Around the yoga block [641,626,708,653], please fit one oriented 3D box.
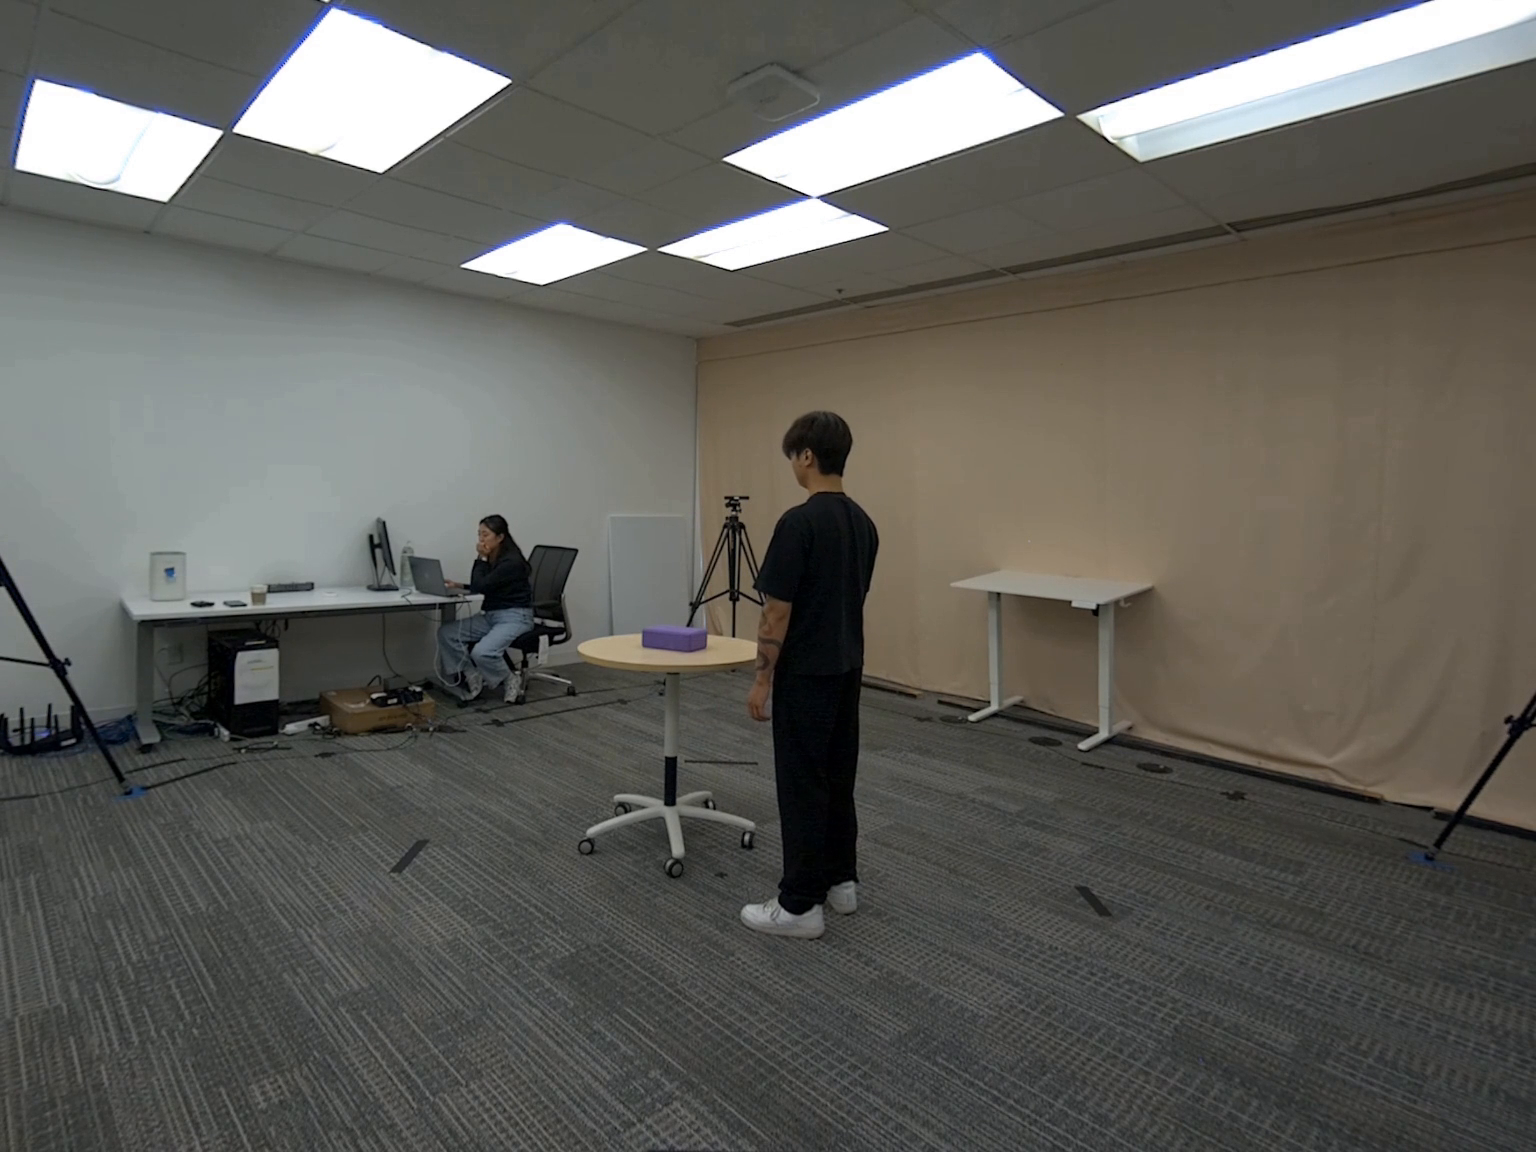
[{"bbox_3d":[-0.384,0.251,3.394,0.234,0.076,0.146,3,4,24],"label":"yoga block"}]
